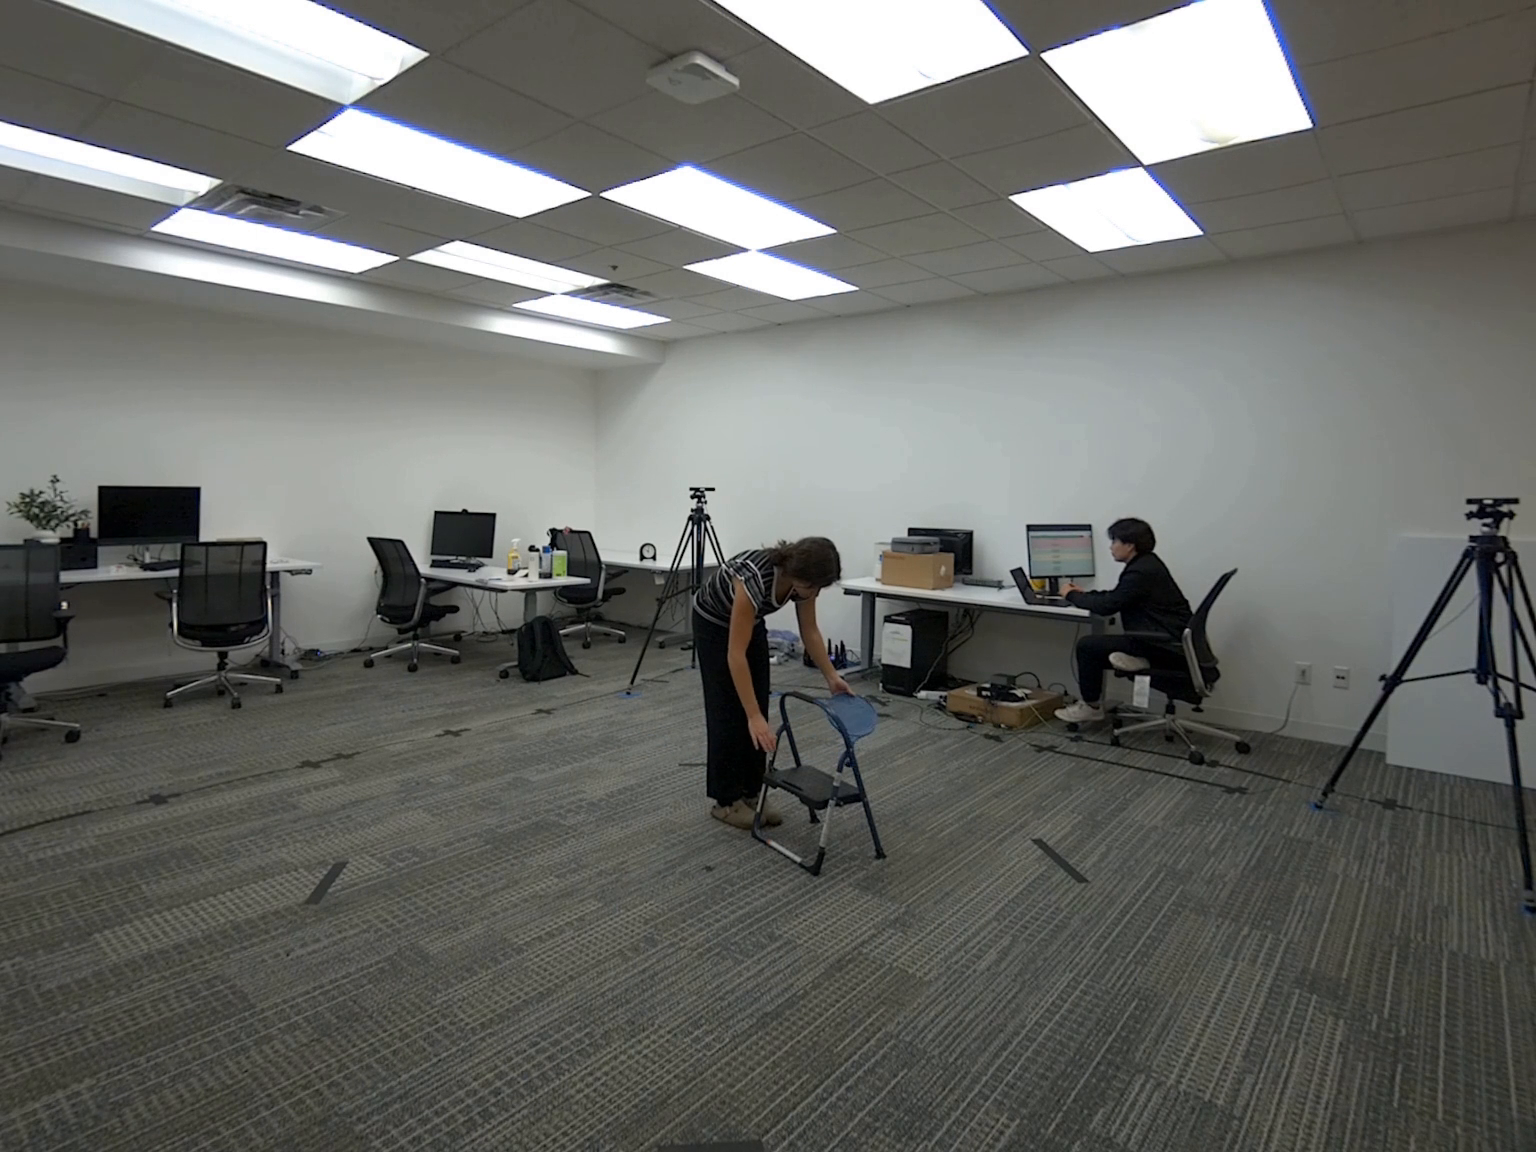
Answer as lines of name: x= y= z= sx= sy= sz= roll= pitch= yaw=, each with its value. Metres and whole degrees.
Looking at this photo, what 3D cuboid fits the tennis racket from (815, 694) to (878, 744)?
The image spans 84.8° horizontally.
tennis racket: x=0.315 y=0.609 z=3.454 sx=0.216 sy=0.031 sz=0.438 roll=11 pitch=29 yaw=6
